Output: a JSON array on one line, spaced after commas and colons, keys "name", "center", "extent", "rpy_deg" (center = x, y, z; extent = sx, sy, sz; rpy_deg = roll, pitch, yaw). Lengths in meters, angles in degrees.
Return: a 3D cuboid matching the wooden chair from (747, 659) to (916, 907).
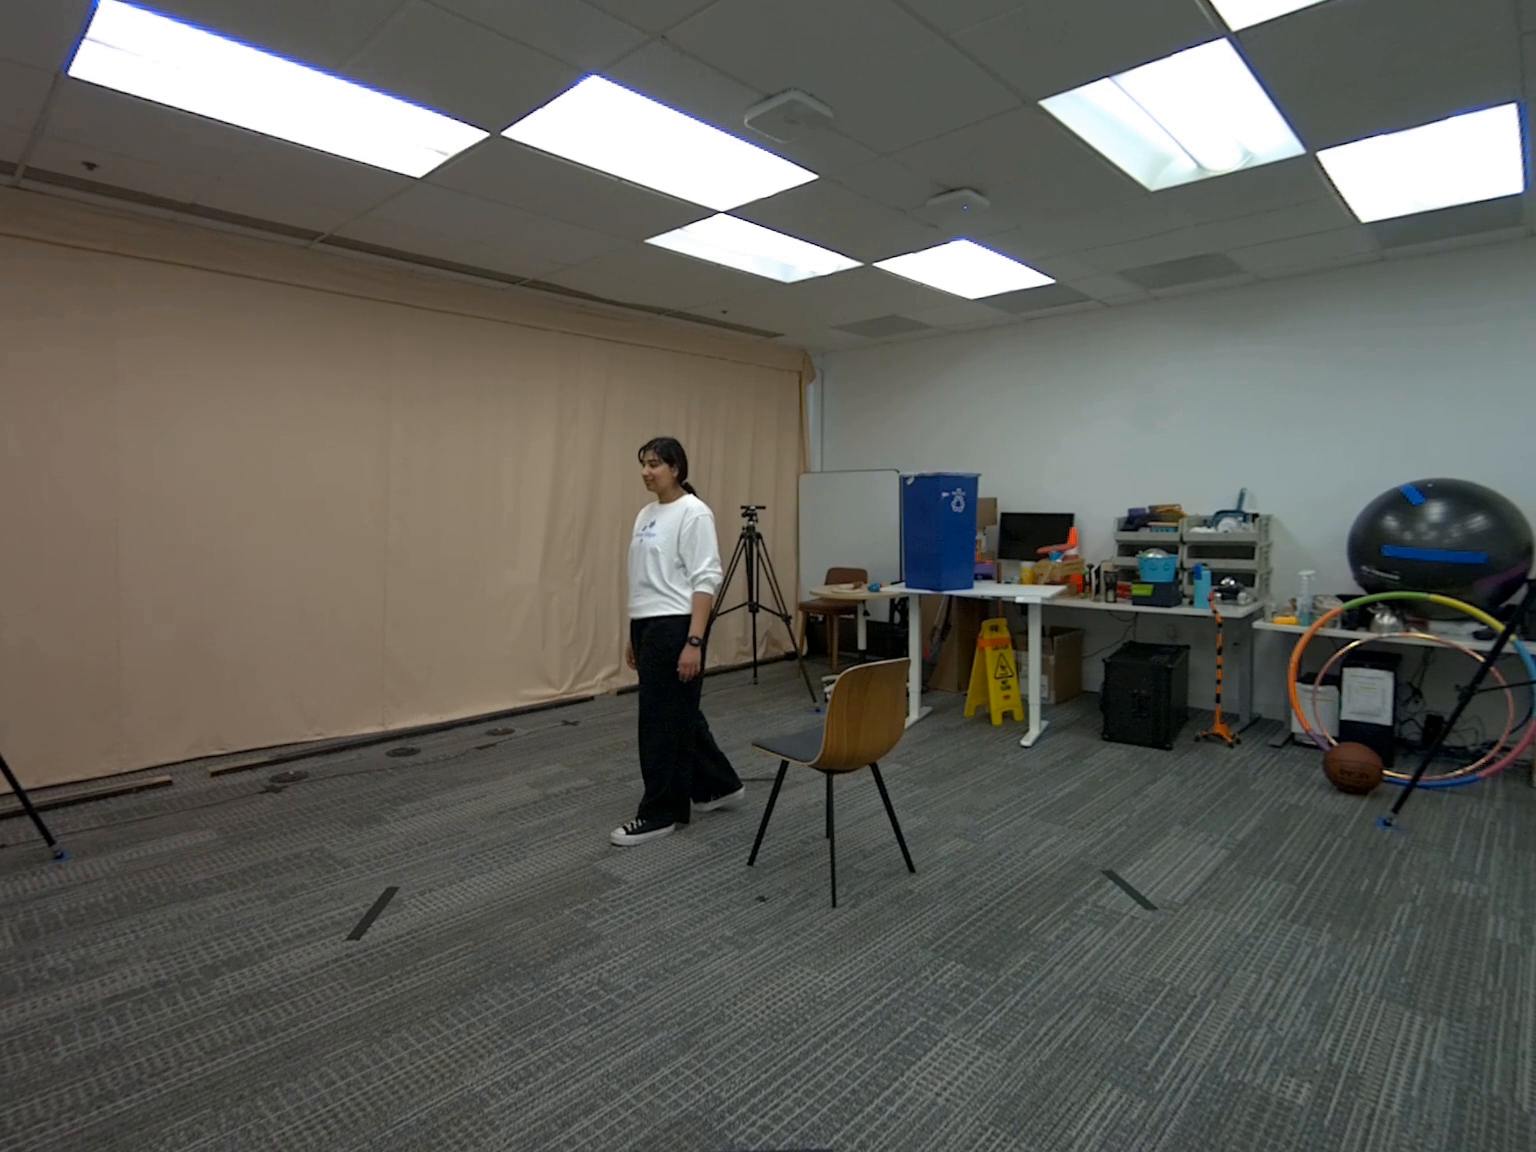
[{"name": "wooden chair", "center": [0.239, 0.695, 3.203], "extent": [0.463, 0.874, 0.541], "rpy_deg": [-3, 9, -41]}]
